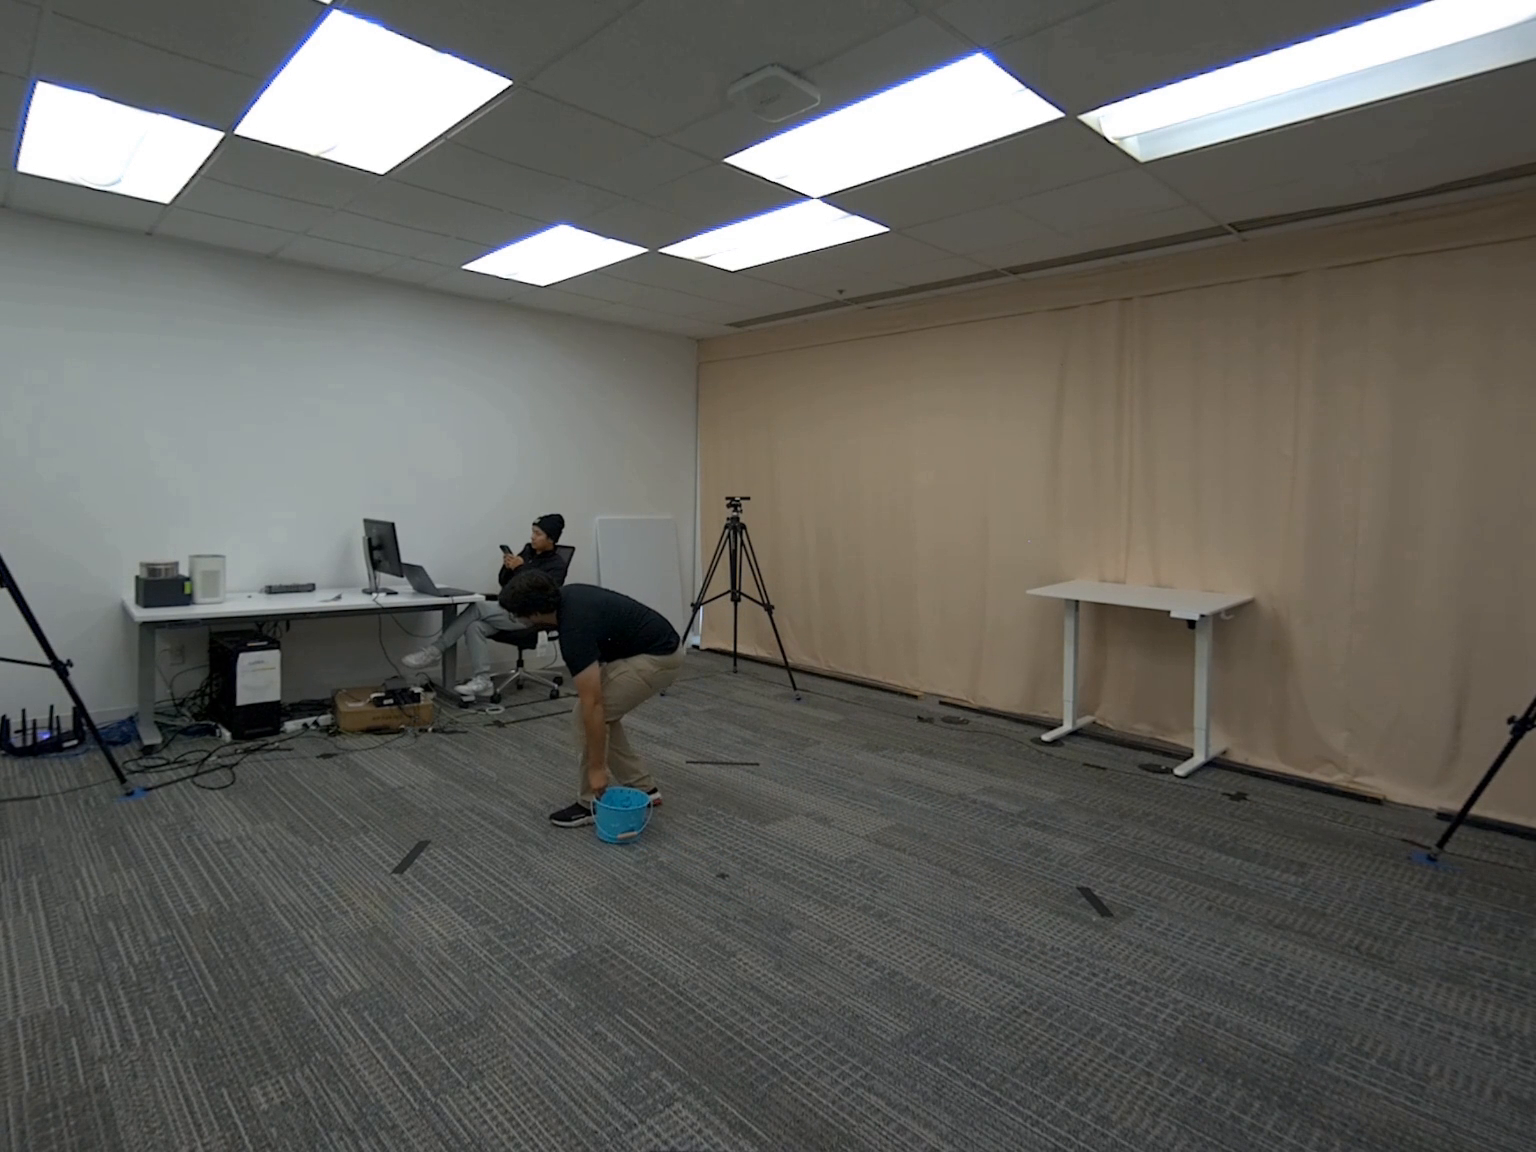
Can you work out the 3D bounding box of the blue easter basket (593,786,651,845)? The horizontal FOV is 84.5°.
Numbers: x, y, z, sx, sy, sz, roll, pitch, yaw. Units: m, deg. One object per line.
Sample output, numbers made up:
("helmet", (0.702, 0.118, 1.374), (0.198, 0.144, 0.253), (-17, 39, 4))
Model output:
("blue easter basket", (-0.617, 0.986, 3.447), (0.243, 0.155, 0.245), (5, 6, -2))
